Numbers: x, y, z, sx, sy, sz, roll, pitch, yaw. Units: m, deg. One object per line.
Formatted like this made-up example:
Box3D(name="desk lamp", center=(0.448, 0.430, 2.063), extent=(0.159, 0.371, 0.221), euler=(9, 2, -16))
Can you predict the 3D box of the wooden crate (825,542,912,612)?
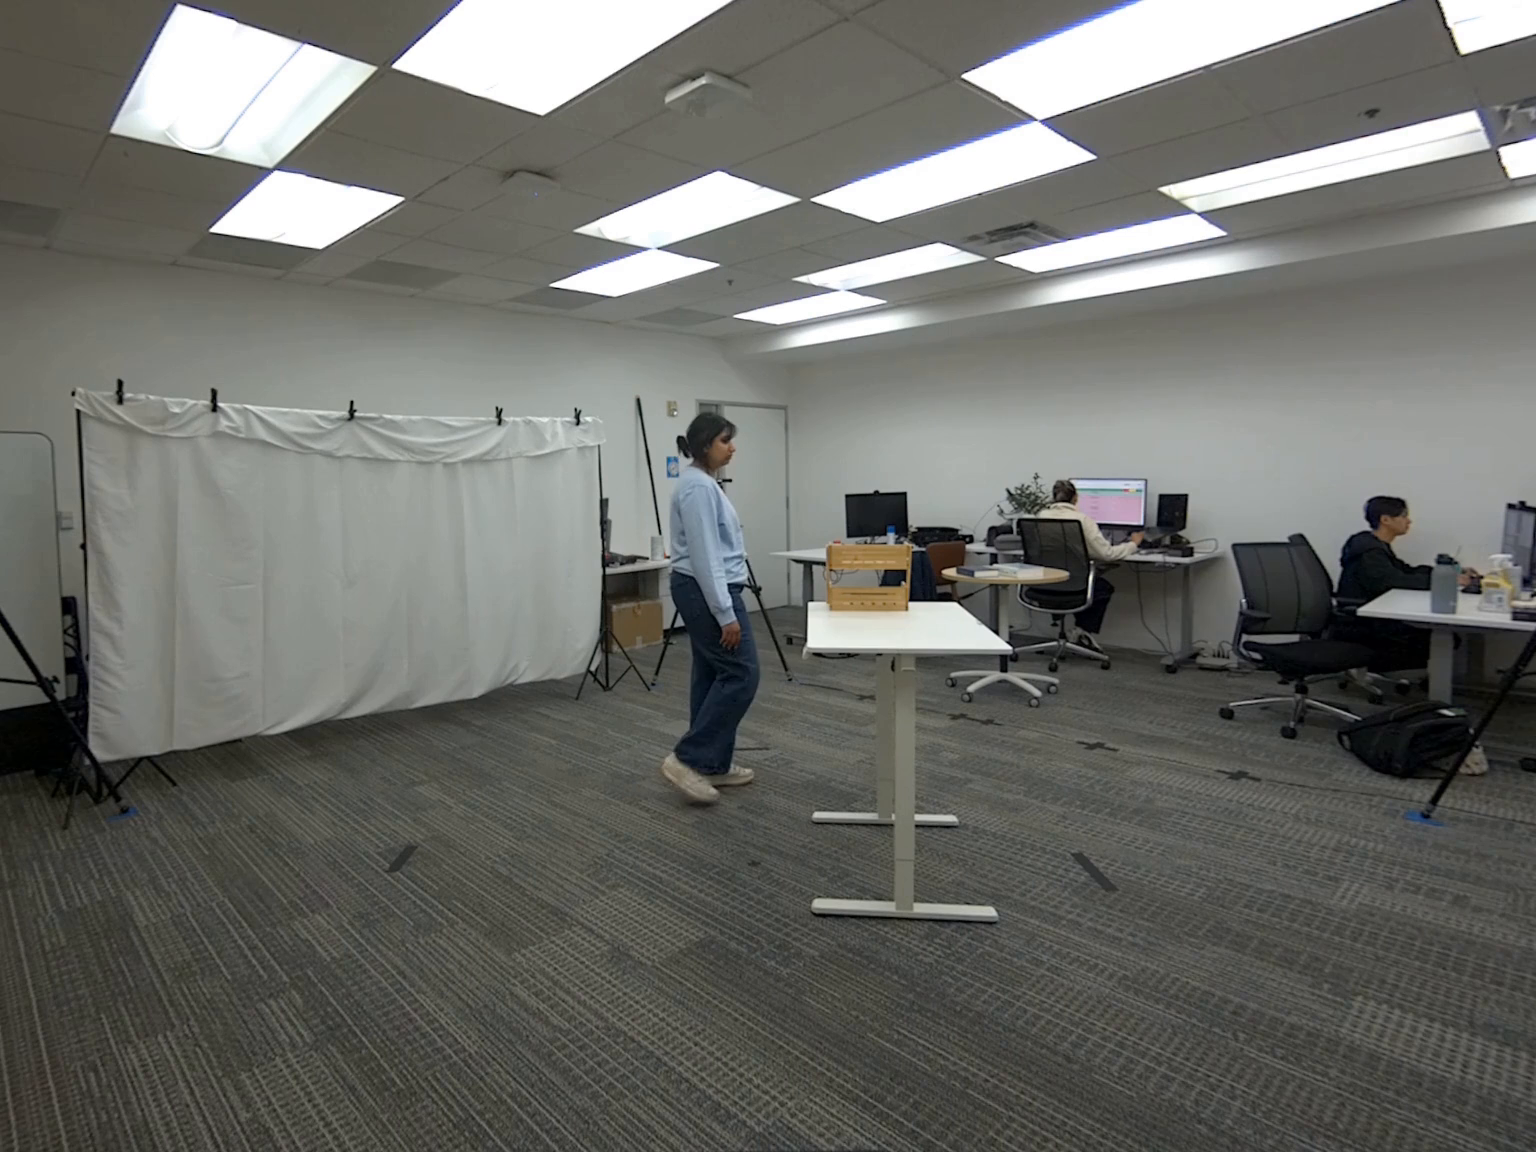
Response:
Box3D(name="wooden crate", center=(0.402, -0.008, 3.400), extent=(0.327, 0.272, 0.301), euler=(0, 6, 6))
